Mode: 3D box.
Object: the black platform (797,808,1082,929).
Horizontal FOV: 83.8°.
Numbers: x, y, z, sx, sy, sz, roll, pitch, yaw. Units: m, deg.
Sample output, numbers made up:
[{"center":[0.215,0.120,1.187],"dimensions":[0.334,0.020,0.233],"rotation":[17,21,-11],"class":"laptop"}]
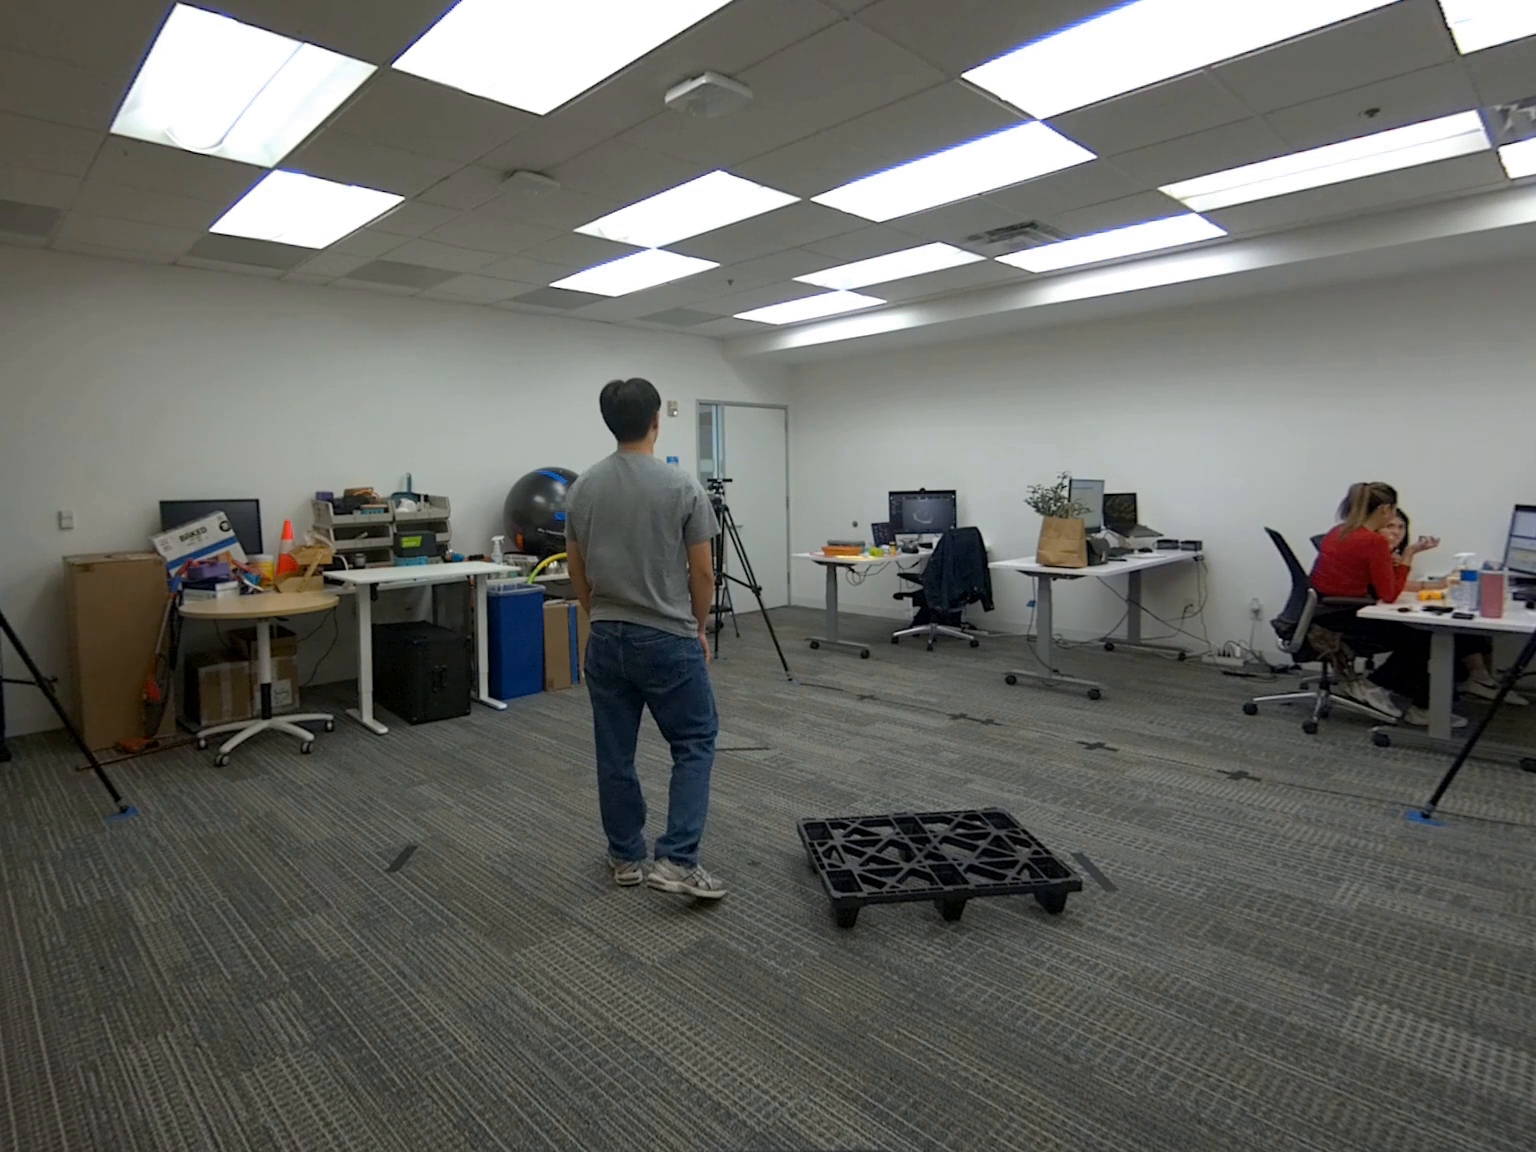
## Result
[{"center":[0.541,0.987,2.915],"dimensions":[0.801,0.143,0.611],"rotation":[-2,6,-7],"class":"black platform"}]
